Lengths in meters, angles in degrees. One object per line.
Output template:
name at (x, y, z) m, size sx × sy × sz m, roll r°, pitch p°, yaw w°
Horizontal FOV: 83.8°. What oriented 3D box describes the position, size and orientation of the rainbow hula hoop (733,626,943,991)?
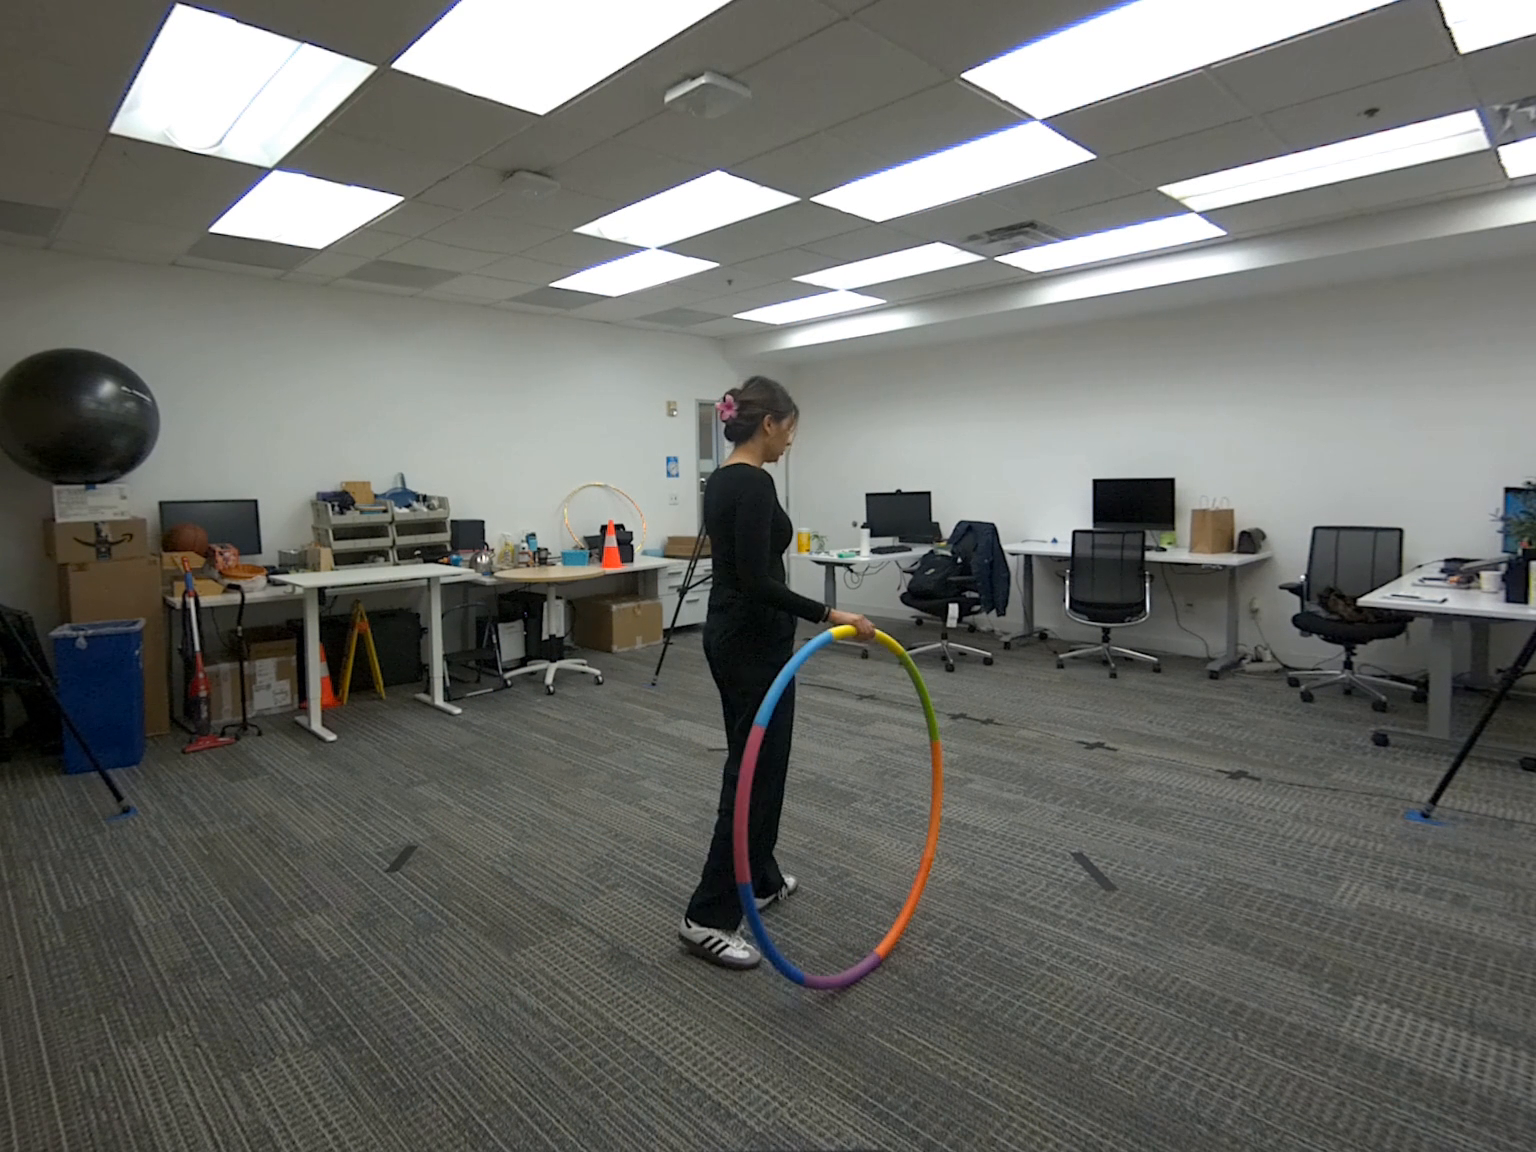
rainbow hula hoop at (0.235, 0.631, 2.414) m, size 0.036 × 0.978 × 0.953 m, roll -4°, pitch 2°, yaw 41°
